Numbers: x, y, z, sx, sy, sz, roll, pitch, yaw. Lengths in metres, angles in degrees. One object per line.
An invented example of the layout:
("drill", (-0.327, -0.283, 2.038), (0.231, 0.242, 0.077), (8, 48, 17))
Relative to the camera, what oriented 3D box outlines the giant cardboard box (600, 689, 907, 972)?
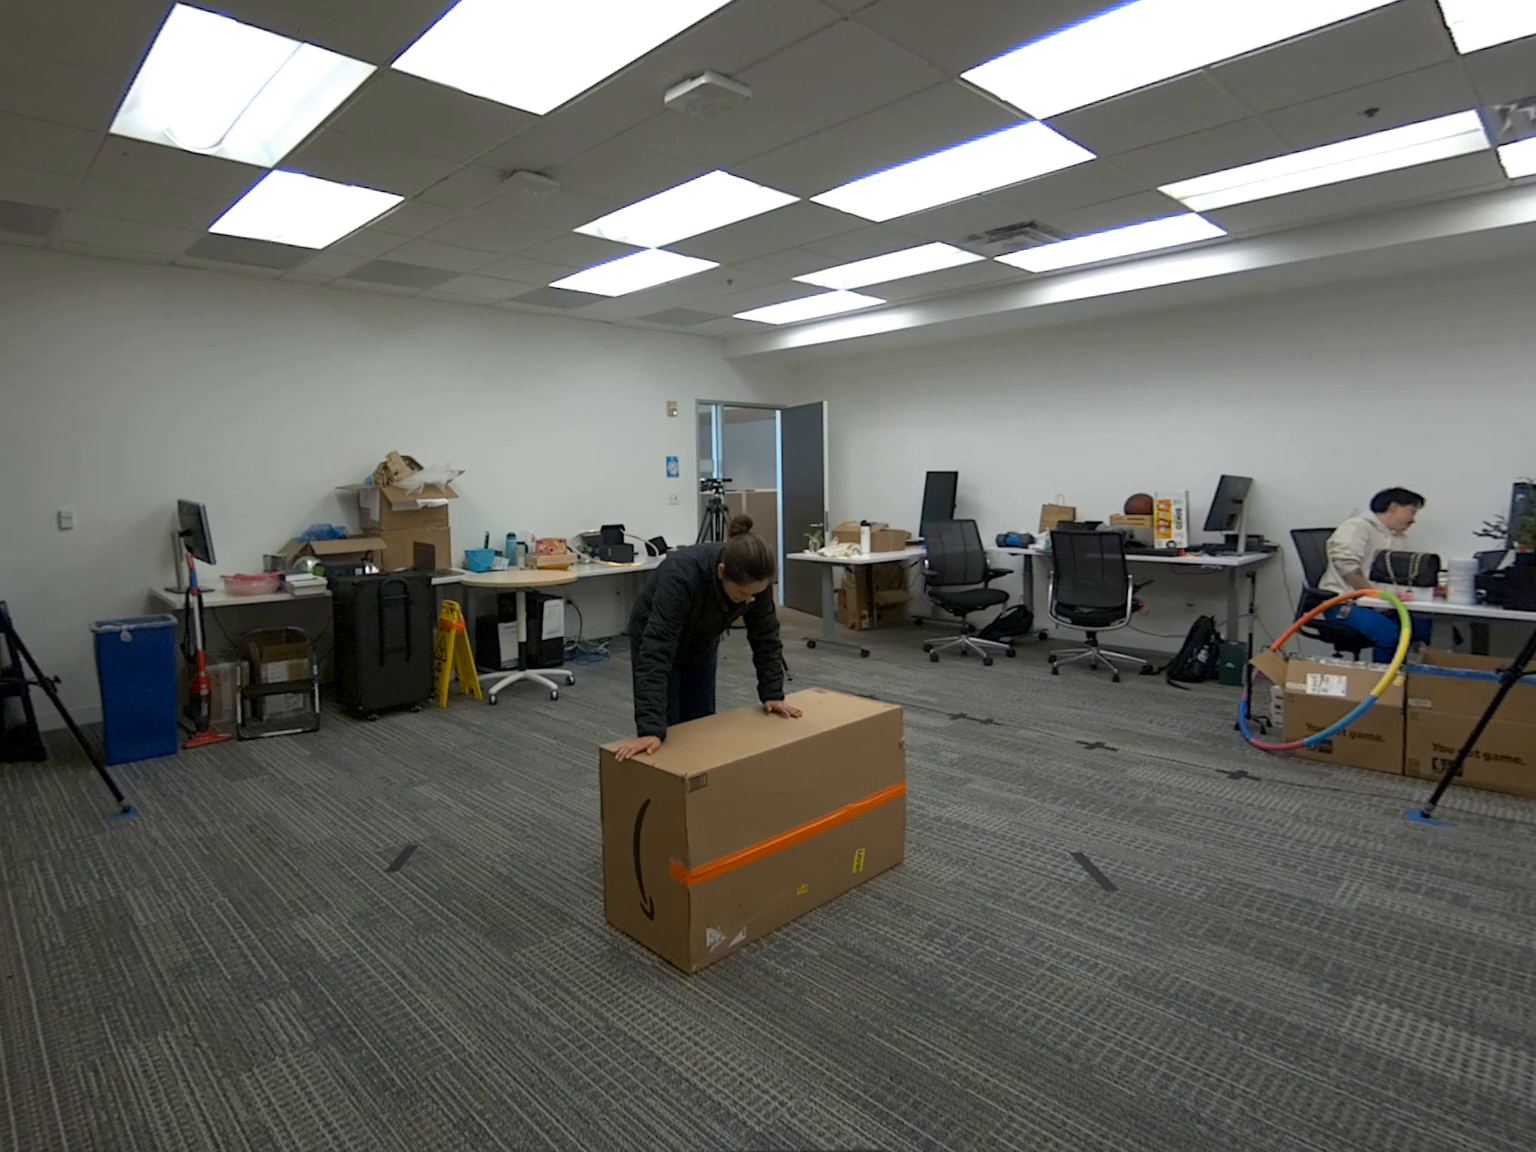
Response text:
("giant cardboard box", (-0.014, 0.782, 2.892), (1.000, 0.582, 0.460), (-7, 6, -43))
